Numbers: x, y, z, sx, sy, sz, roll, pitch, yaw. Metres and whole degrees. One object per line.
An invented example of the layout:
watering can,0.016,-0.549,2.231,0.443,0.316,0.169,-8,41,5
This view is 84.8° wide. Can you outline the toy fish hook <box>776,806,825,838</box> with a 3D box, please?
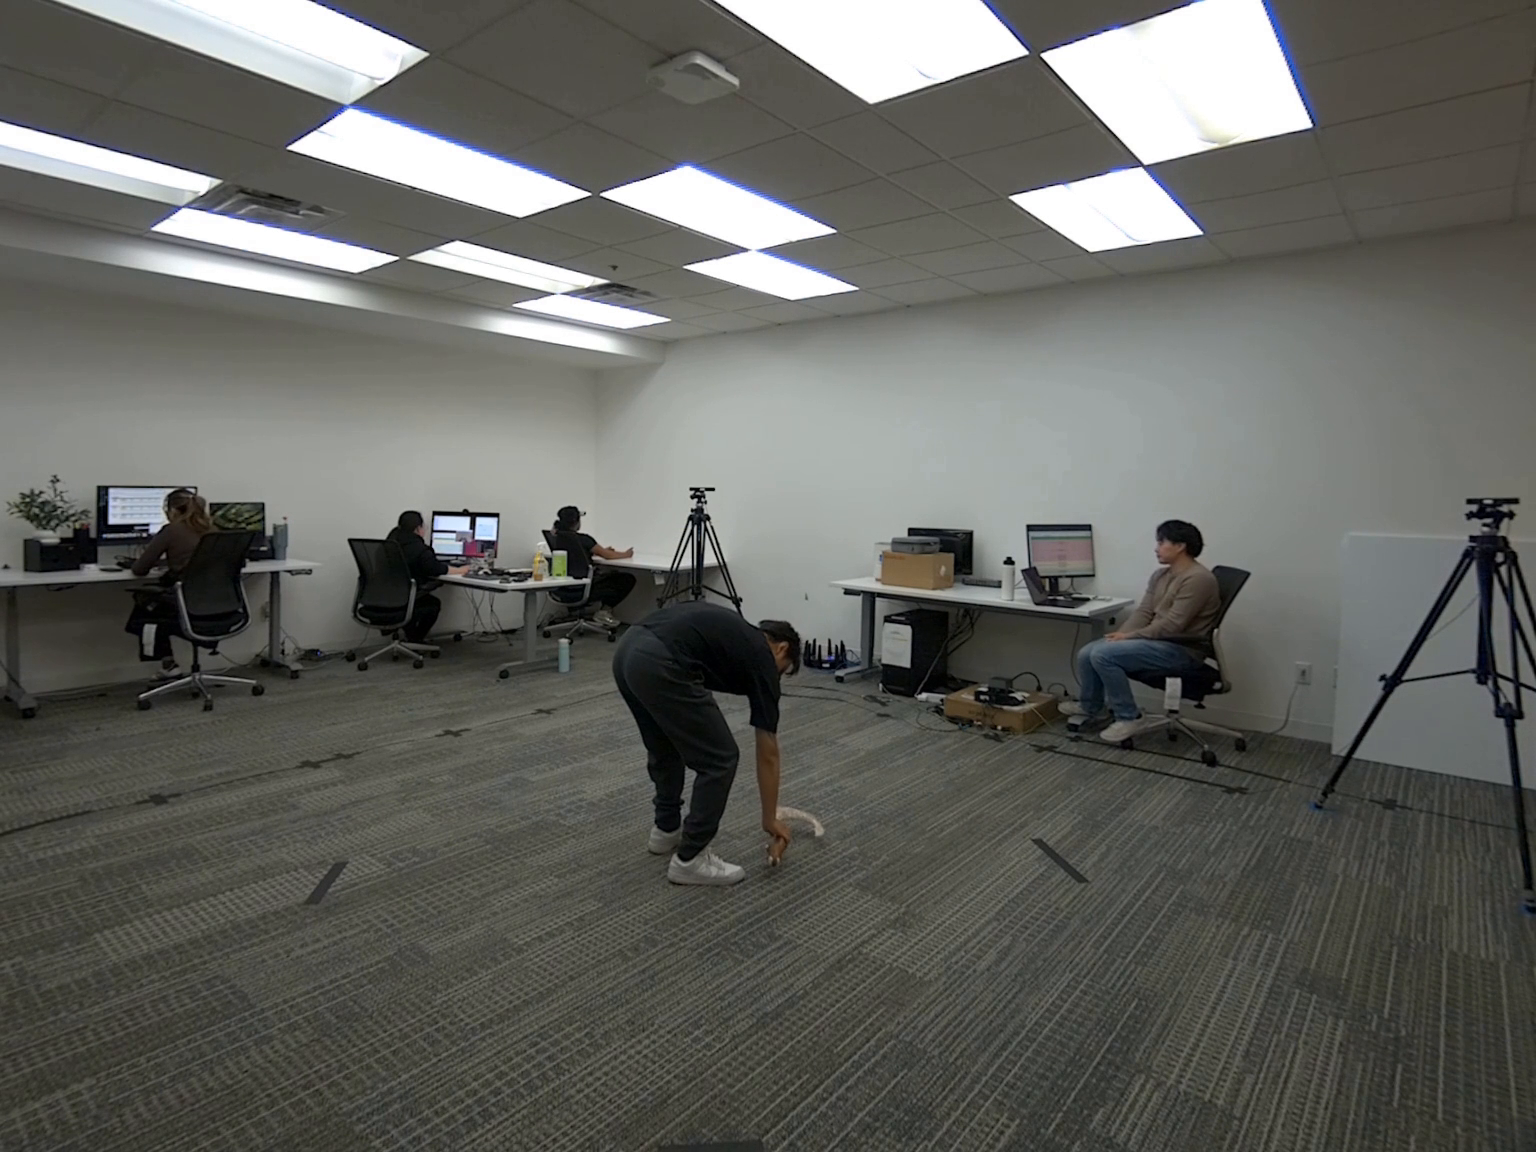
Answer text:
toy fish hook,0.087,0.987,3.247,0.227,0.048,0.504,5,9,8
